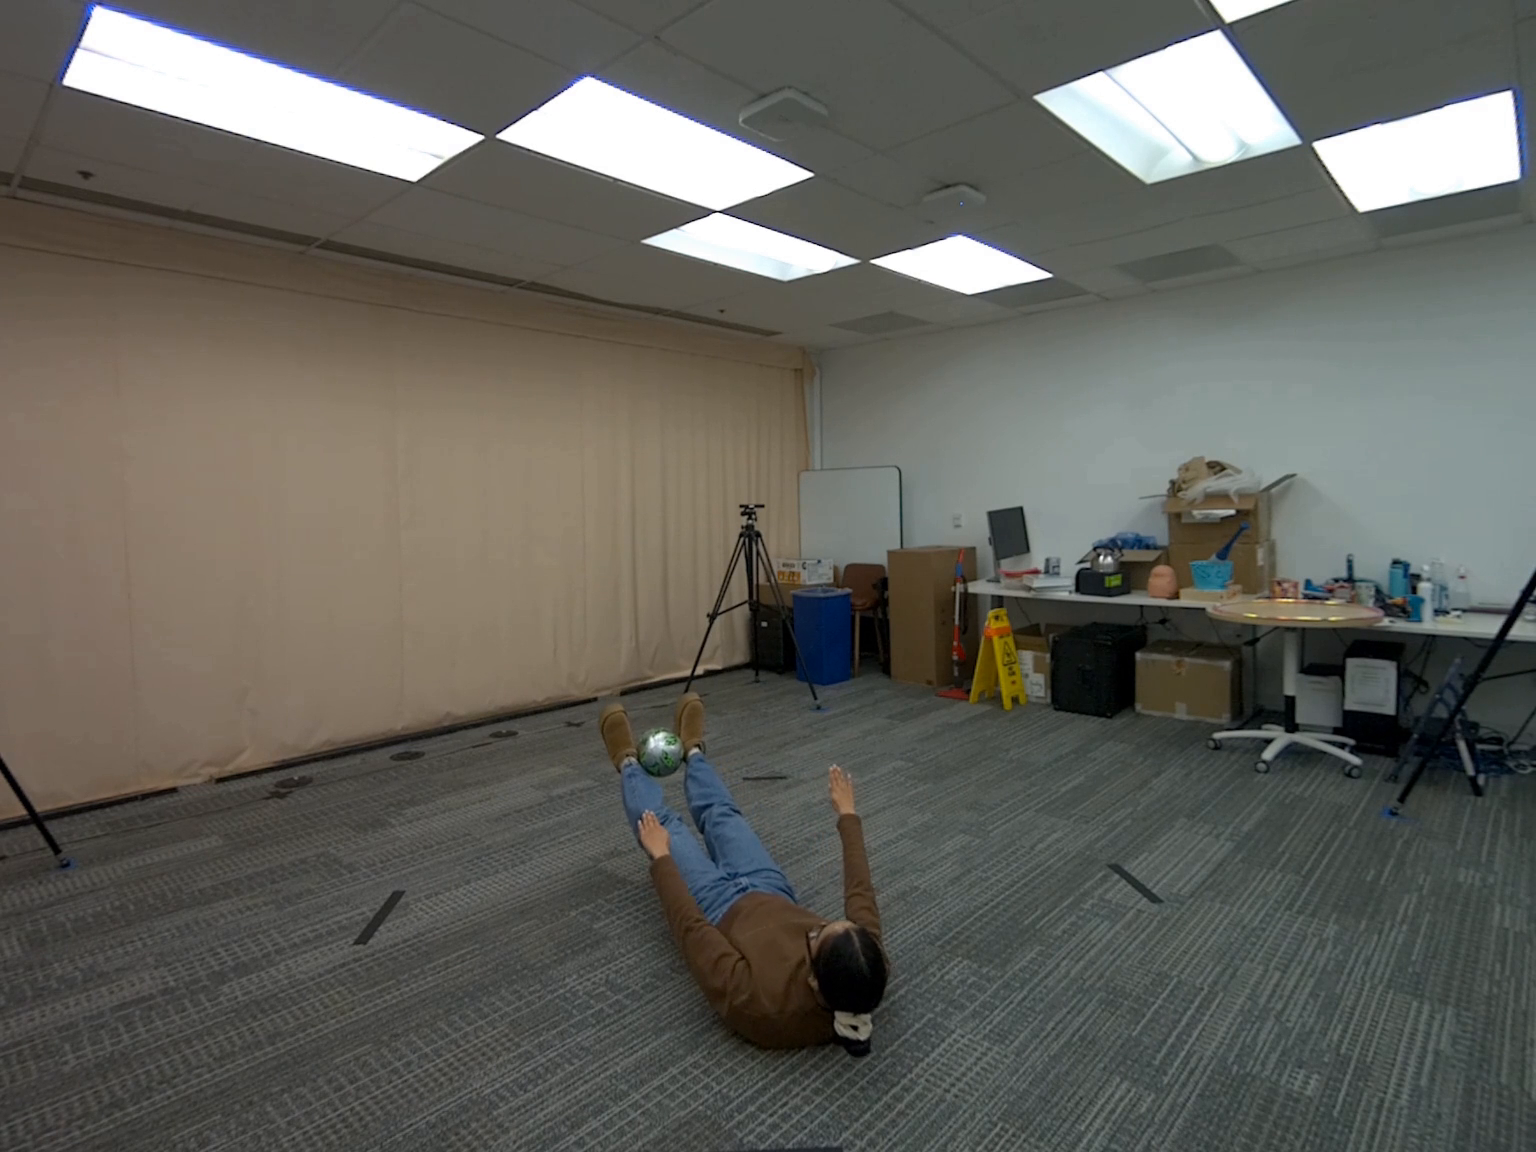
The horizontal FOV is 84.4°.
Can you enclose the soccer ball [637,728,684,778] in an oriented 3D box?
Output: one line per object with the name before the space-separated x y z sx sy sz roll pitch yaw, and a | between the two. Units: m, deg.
soccer ball | -0.423 0.688 3.238 0.187 0.187 0.188 -1 4 -2
